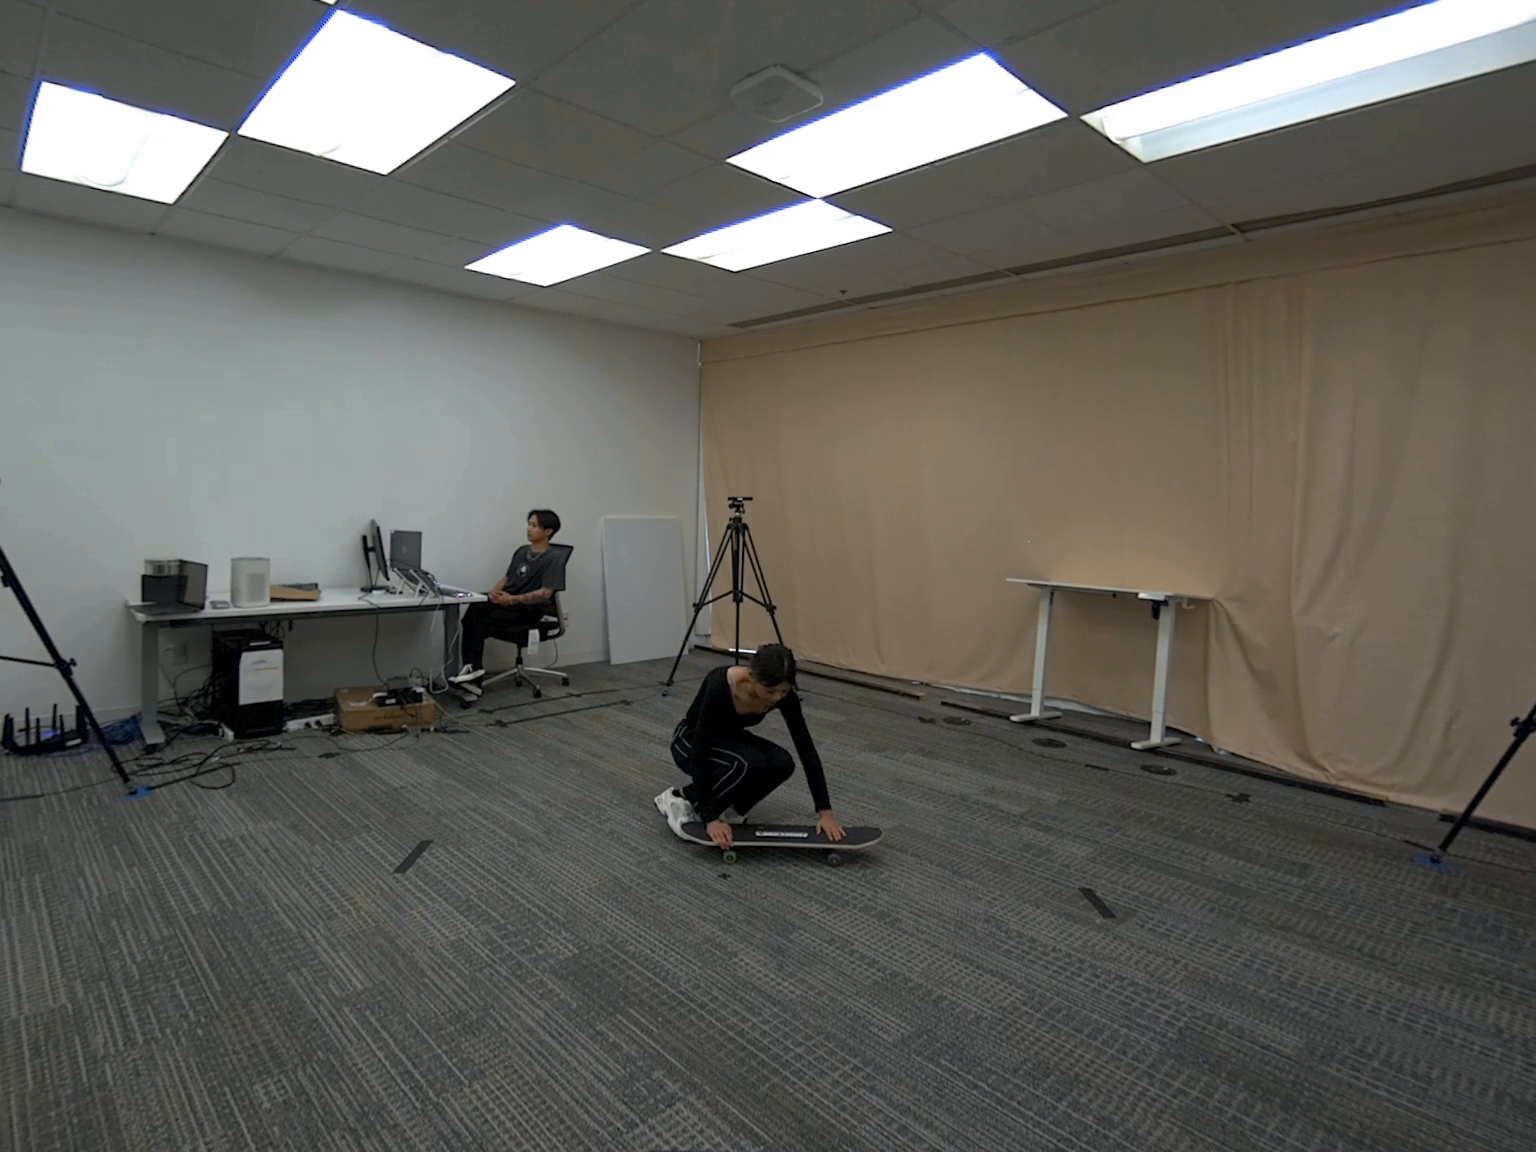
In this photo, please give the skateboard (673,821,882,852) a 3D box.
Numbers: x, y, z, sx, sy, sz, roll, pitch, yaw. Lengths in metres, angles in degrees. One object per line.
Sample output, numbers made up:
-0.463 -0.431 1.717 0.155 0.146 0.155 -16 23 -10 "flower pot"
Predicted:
0.041 1.038 3.286 0.786 0.110 0.194 1 5 0 "skateboard"
